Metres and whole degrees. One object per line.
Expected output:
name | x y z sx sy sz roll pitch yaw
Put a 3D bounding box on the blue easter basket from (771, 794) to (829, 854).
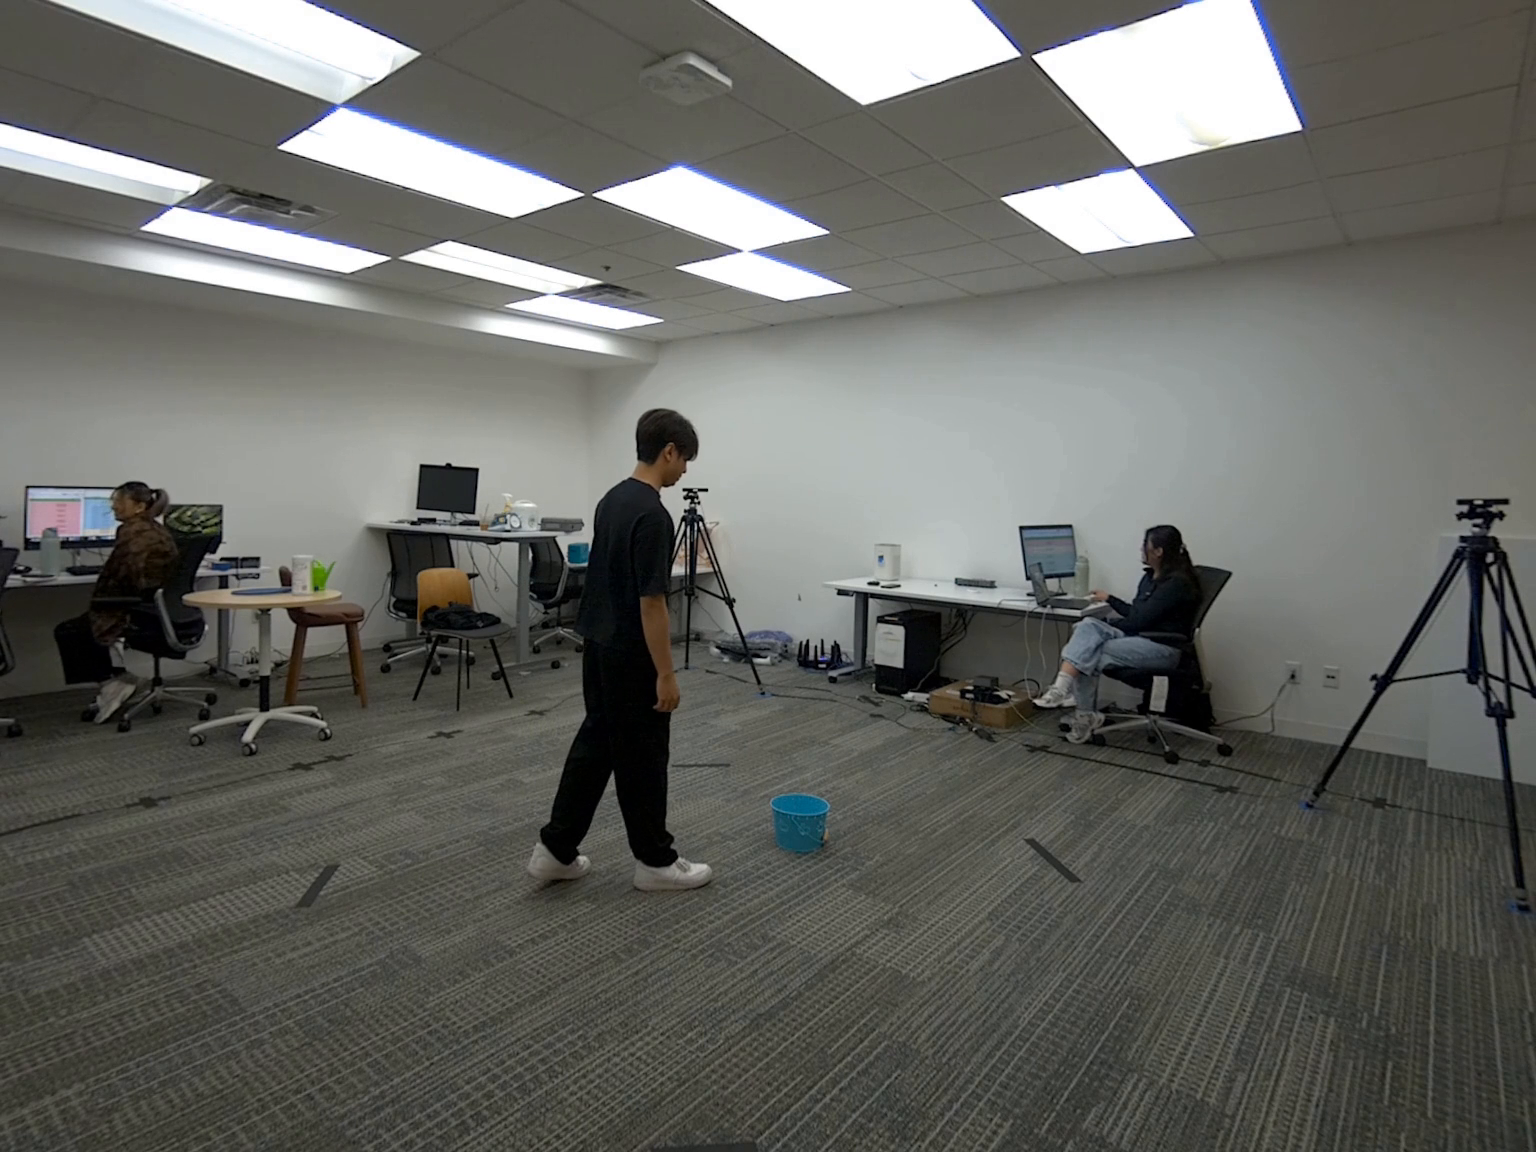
blue easter basket | 0.119 0.973 3.365 0.243 0.155 0.245 0 5 -2
